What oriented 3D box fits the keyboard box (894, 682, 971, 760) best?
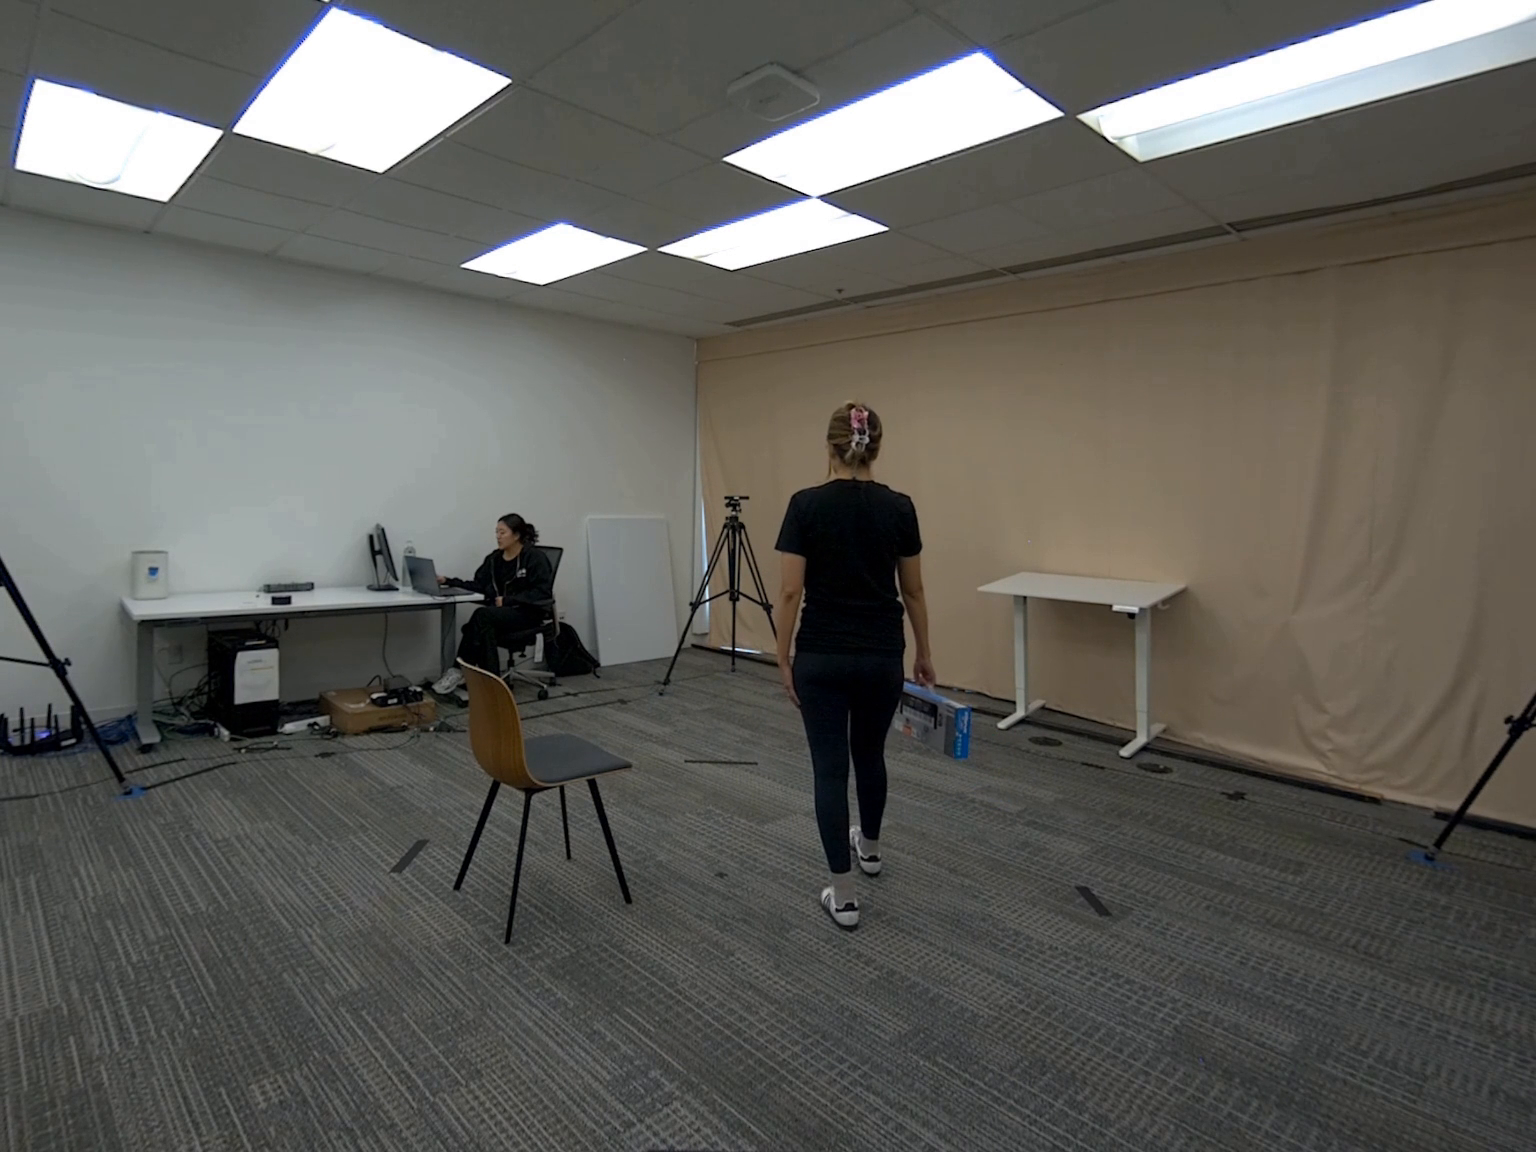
[{"bbox_3d":[0.553,0.505,3.013,0.058,0.175,0.445,1,5,-22],"label":"keyboard box"}]
